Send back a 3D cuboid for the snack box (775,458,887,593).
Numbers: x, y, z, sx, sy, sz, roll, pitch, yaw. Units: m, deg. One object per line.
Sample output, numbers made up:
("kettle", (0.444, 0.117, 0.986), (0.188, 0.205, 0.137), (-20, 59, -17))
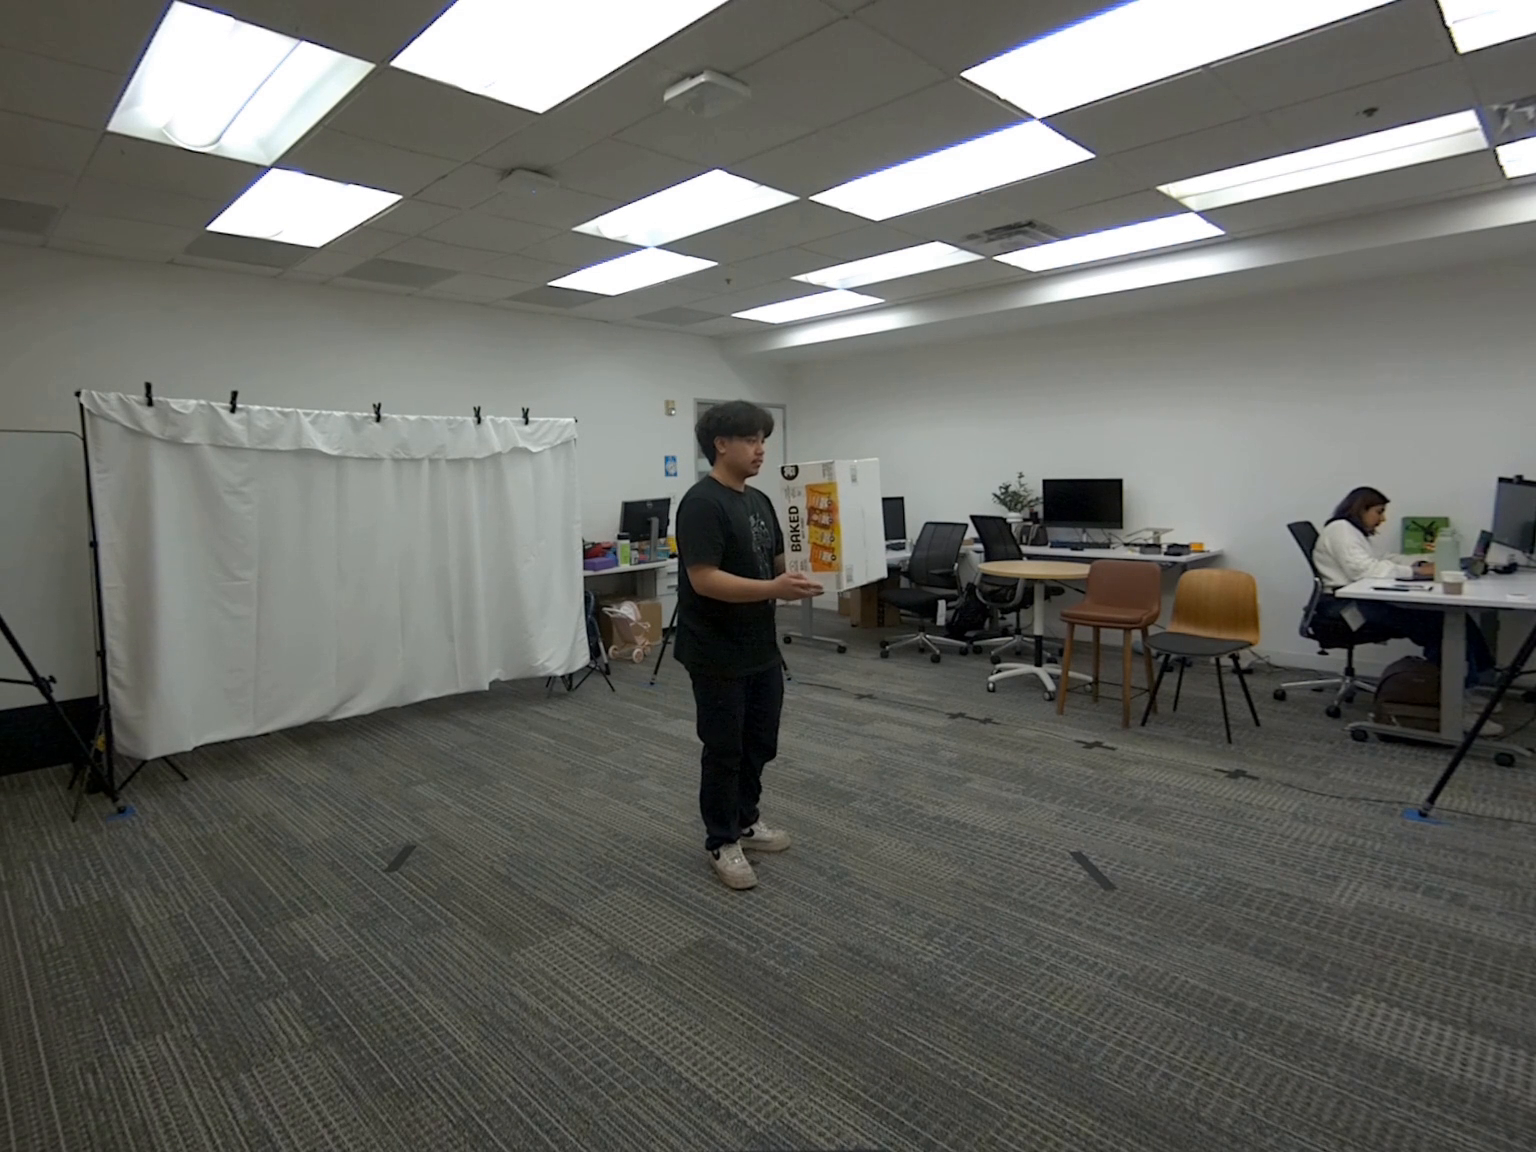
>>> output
("snack box", (0.213, -0.174, 2.816), (0.211, 0.404, 0.333), (-2, 5, 32))
